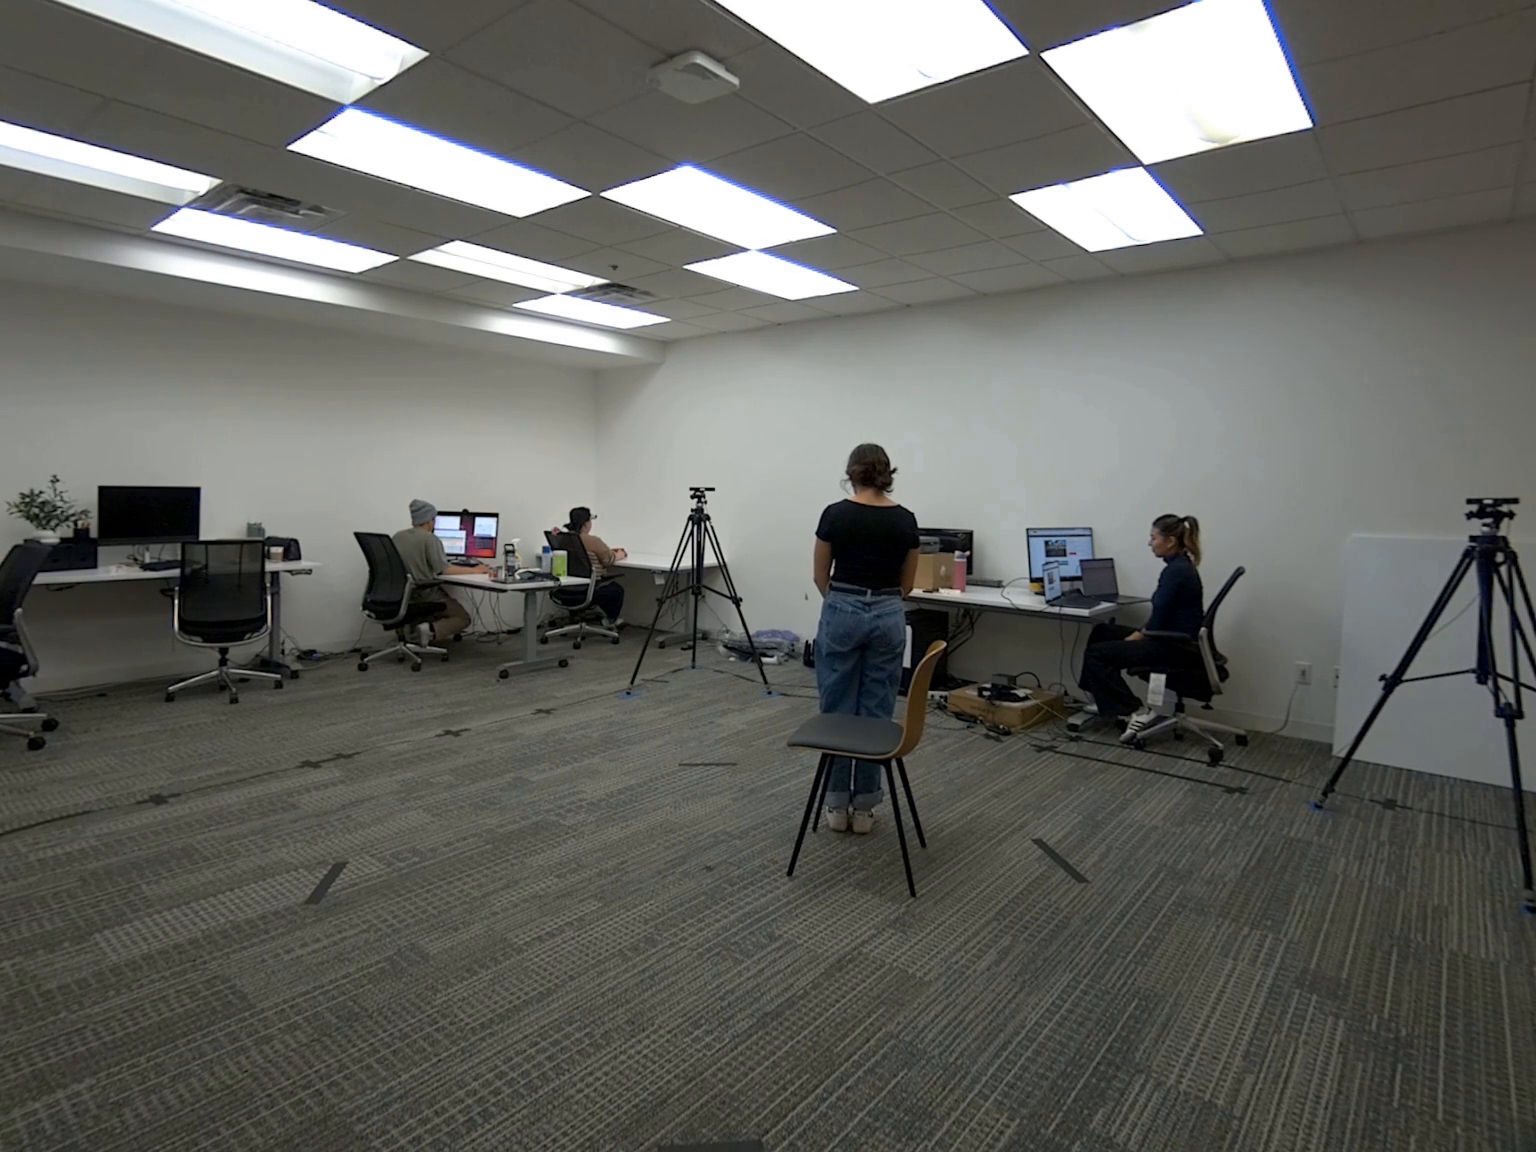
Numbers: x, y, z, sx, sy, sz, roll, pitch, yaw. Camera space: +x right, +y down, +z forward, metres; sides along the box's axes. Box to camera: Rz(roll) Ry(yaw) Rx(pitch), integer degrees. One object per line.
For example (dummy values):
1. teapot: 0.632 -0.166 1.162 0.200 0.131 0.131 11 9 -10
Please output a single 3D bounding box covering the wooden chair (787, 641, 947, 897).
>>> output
1. wooden chair: 0.341 0.645 3.174 0.534 0.874 0.470 7 4 17
